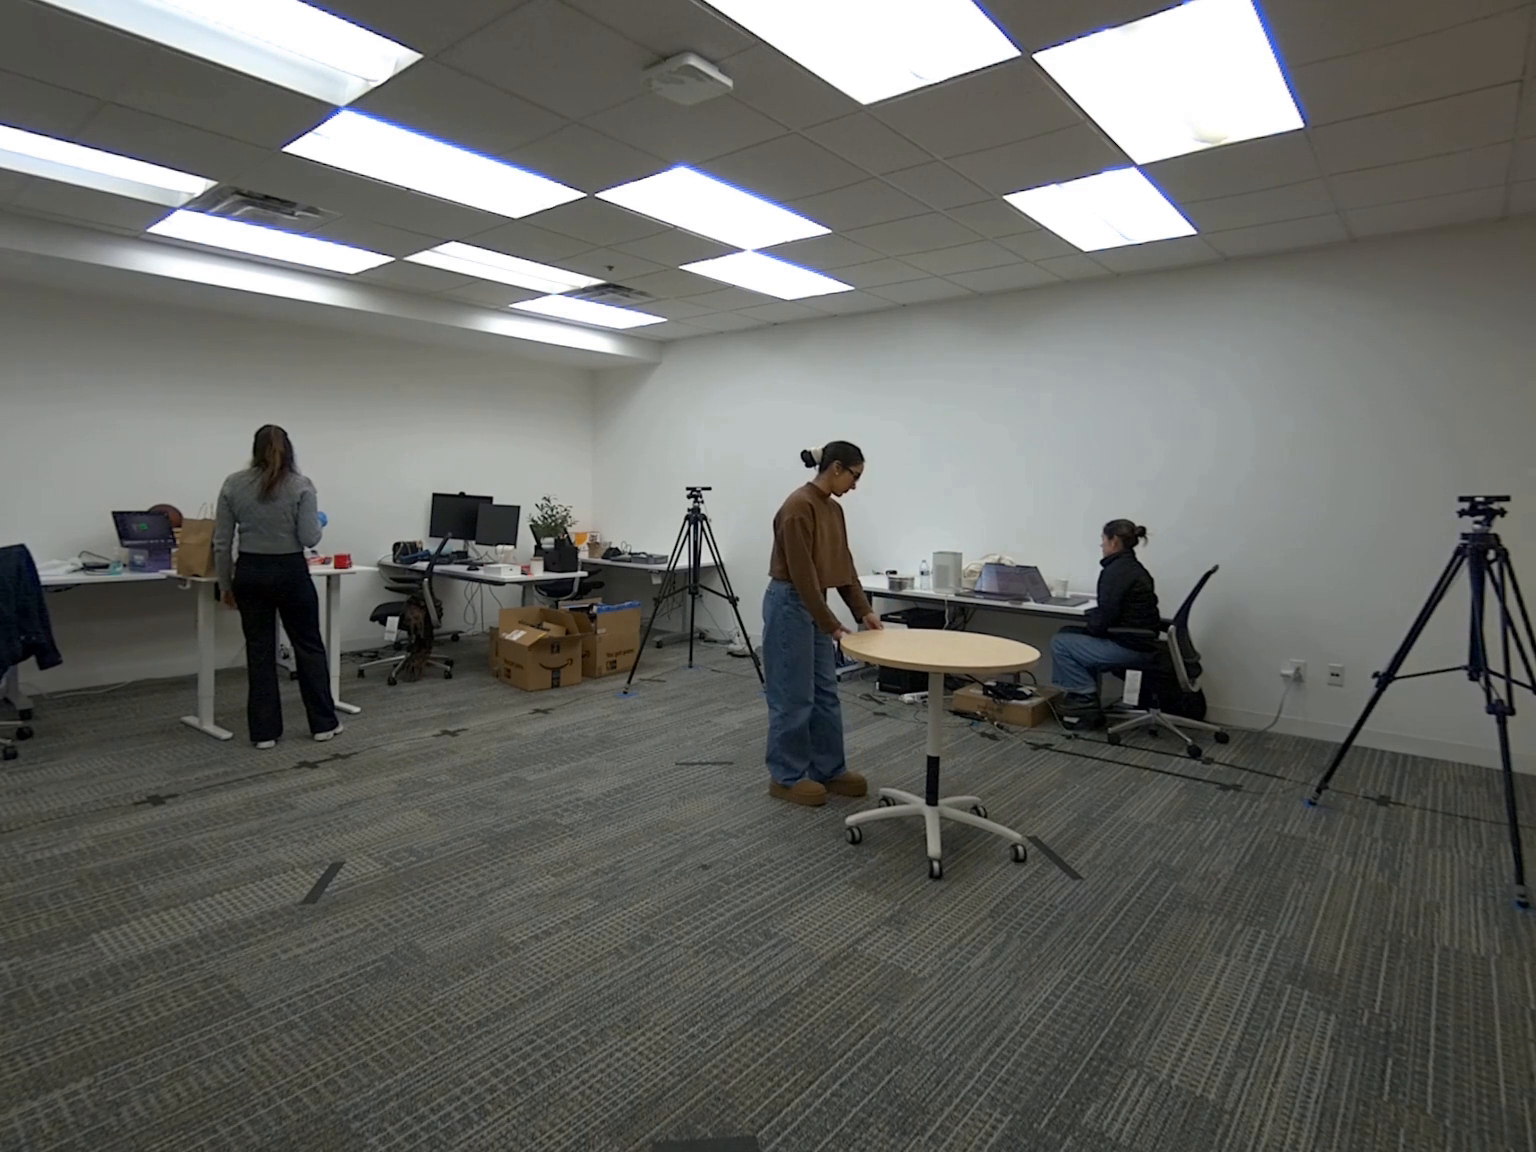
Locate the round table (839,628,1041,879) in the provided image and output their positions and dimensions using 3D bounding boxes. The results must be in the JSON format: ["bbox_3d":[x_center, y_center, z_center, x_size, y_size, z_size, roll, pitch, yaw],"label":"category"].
[{"bbox_3d":[0.656,0.667,3.400,0.763,0.791,0.768,2,4,-2],"label":"round table"}]
